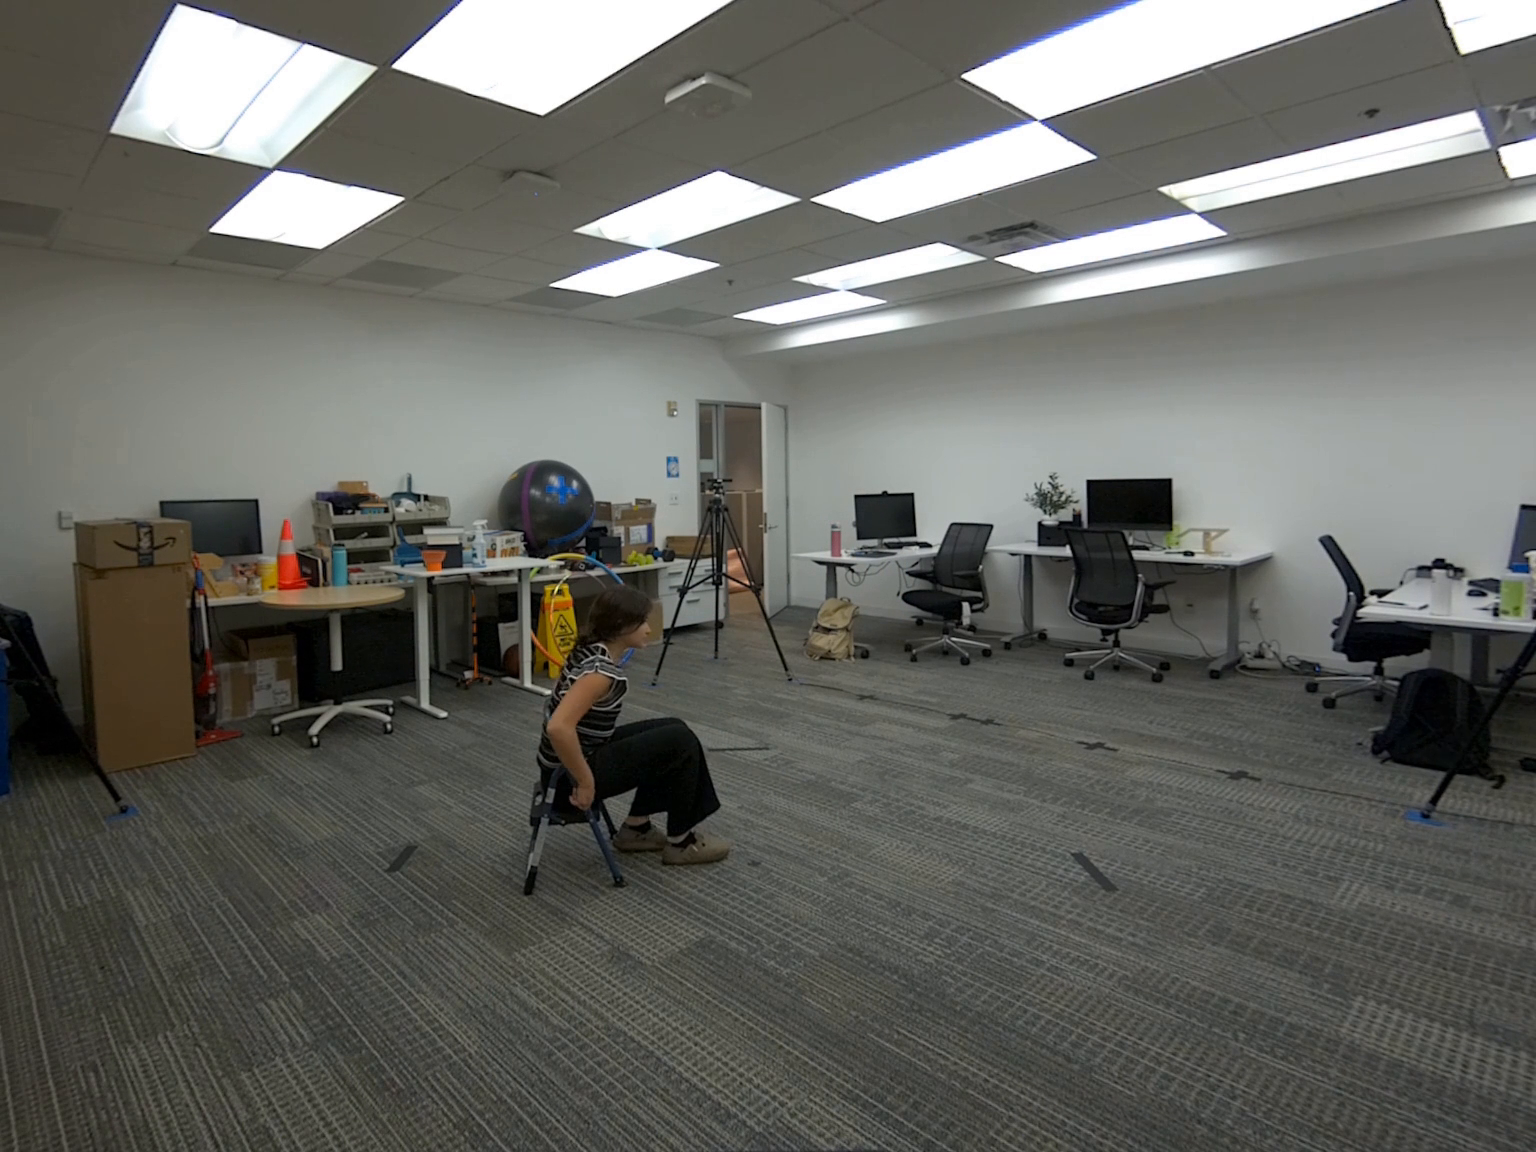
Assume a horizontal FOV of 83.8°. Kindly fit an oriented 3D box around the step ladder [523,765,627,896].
[{"bbox_3d":[-0.709,0.762,3.106,0.345,0.604,0.437,-2,4,-12],"label":"step ladder"}]
